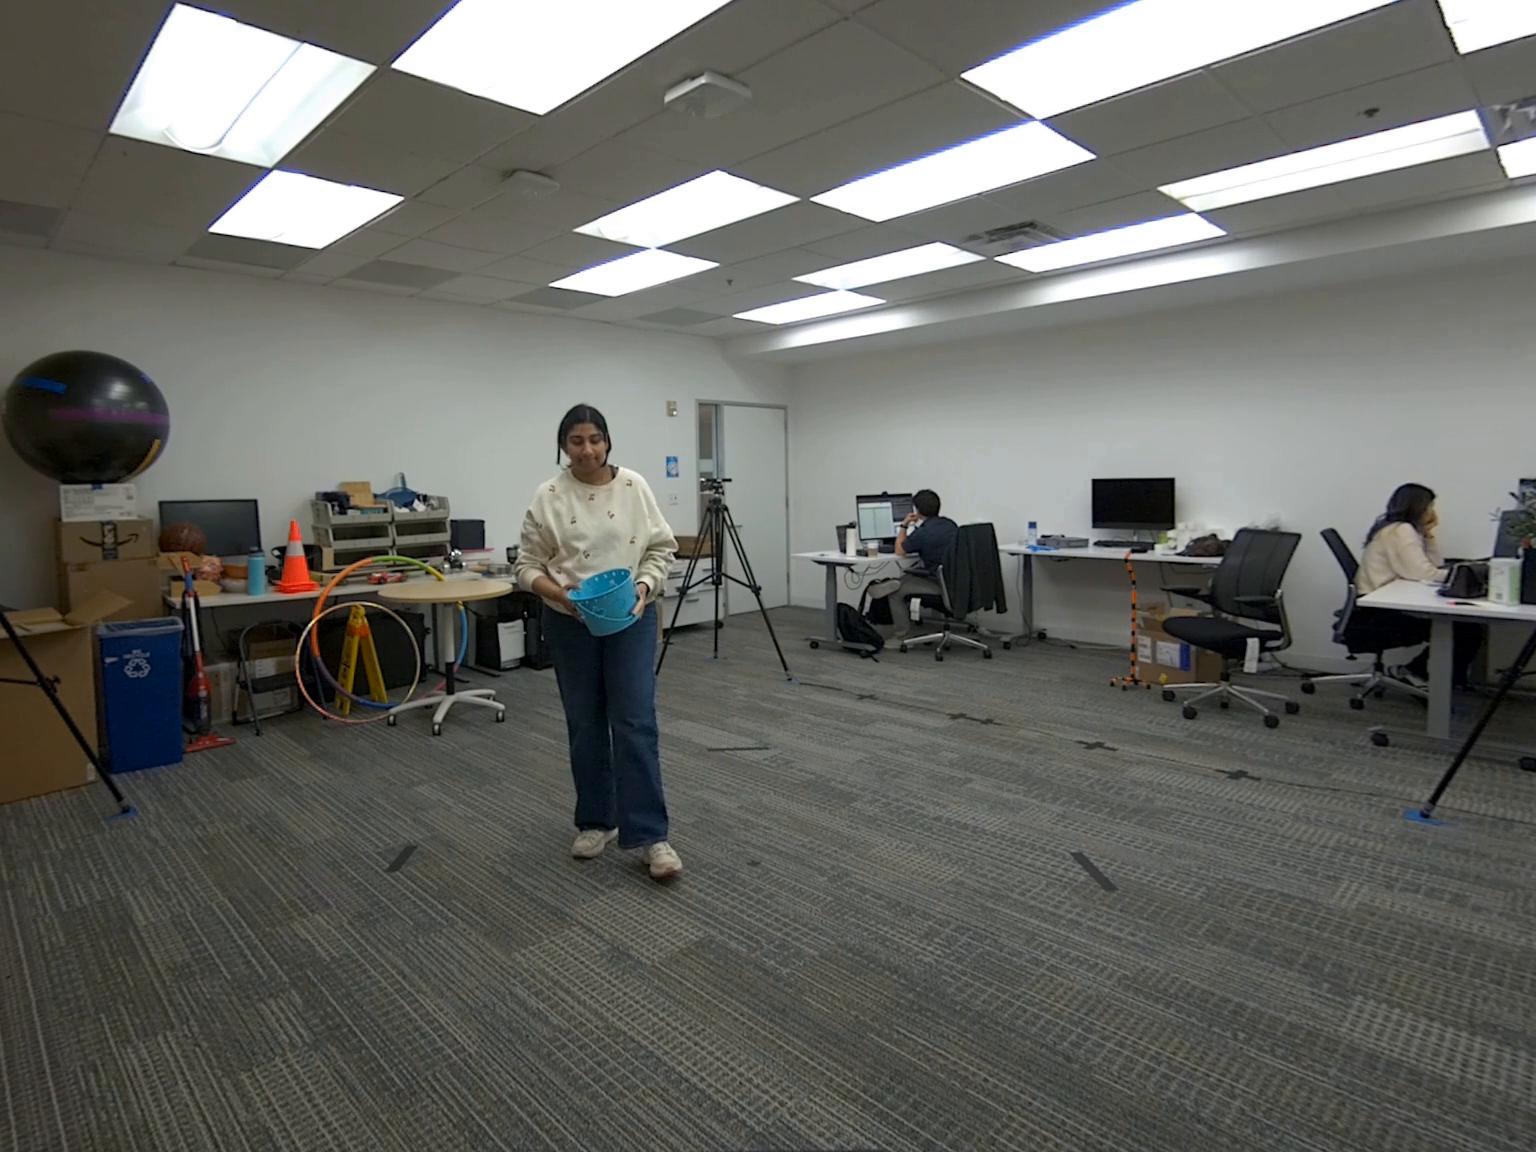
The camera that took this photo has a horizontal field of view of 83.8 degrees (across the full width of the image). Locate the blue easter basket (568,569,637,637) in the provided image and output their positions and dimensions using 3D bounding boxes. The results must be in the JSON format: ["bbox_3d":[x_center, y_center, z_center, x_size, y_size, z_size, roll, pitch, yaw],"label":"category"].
[{"bbox_3d":[-0.580,0.102,2.924,0.244,0.153,0.248,-21,18,5],"label":"blue easter basket"}]
